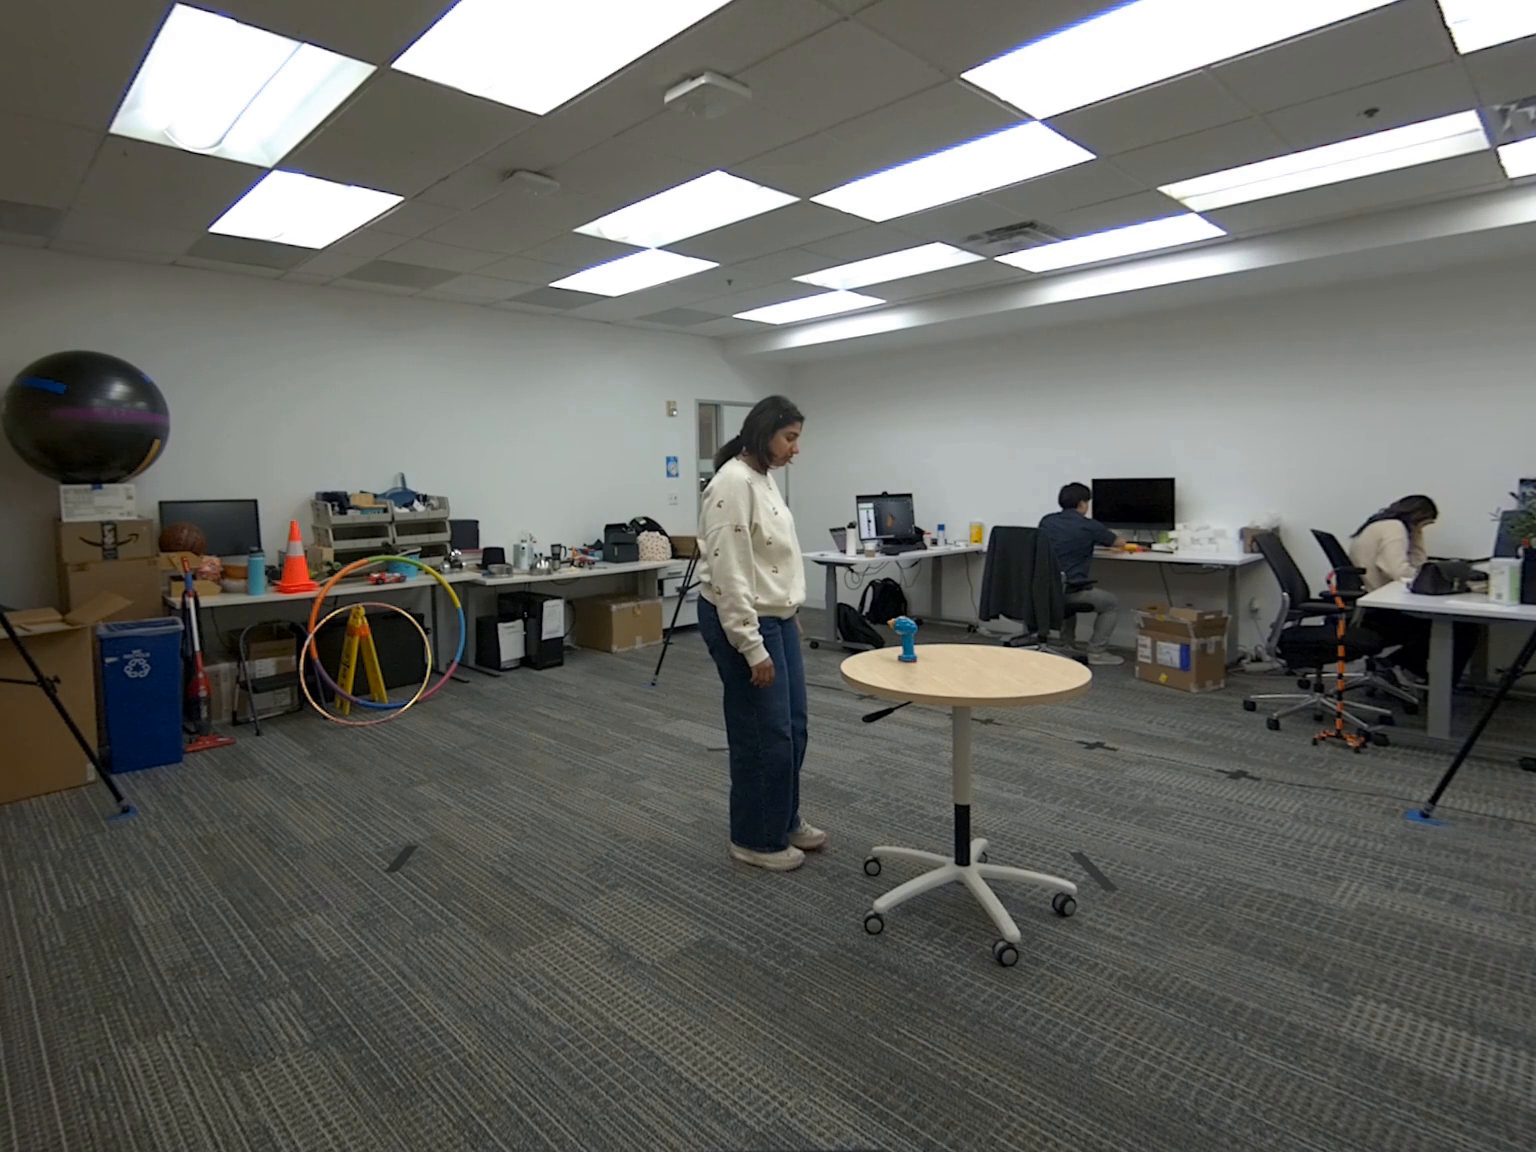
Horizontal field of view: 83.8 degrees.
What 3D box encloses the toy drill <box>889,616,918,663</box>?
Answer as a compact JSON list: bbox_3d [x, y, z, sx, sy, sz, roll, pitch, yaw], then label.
[{"bbox_3d":[0.452,0.205,2.879,0.060,0.145,0.173,-4,5,-22],"label":"toy drill"}]
